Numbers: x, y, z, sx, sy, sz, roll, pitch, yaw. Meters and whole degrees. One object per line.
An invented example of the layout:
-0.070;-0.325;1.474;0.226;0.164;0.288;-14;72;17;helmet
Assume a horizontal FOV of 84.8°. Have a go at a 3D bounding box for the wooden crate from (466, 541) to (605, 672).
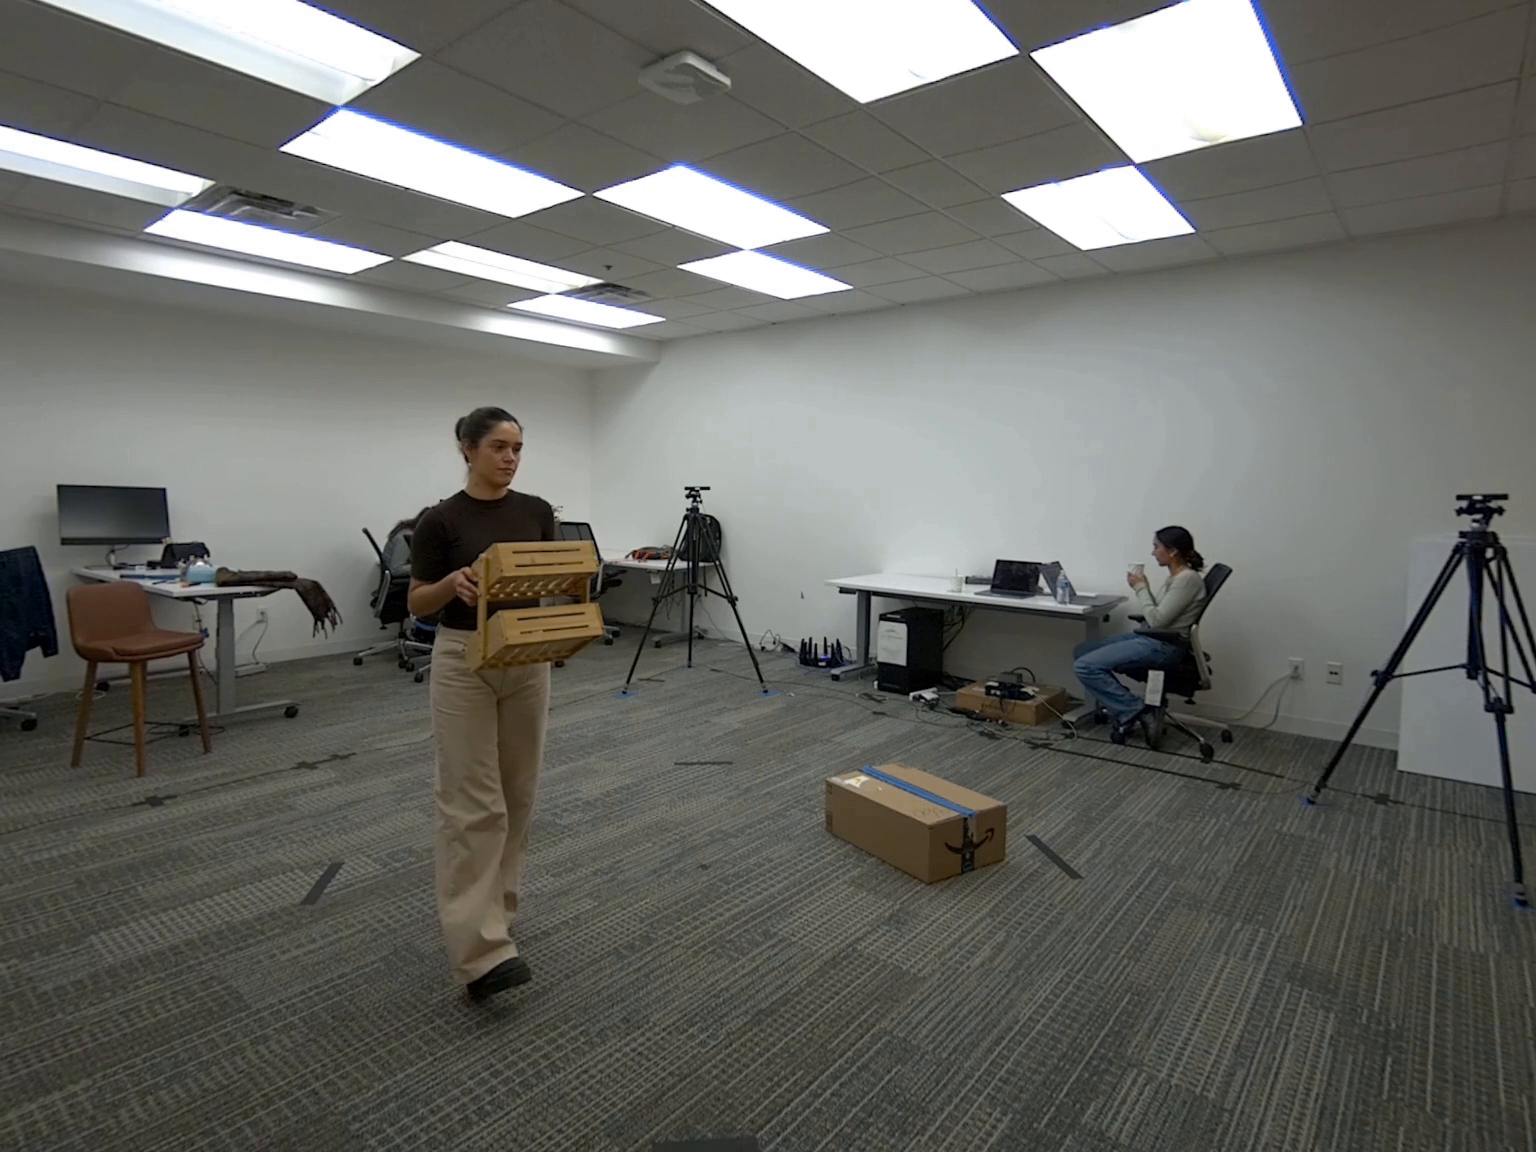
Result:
-0.667;0.075;2.359;0.314;0.279;0.305;-2;-20;-42;wooden crate
